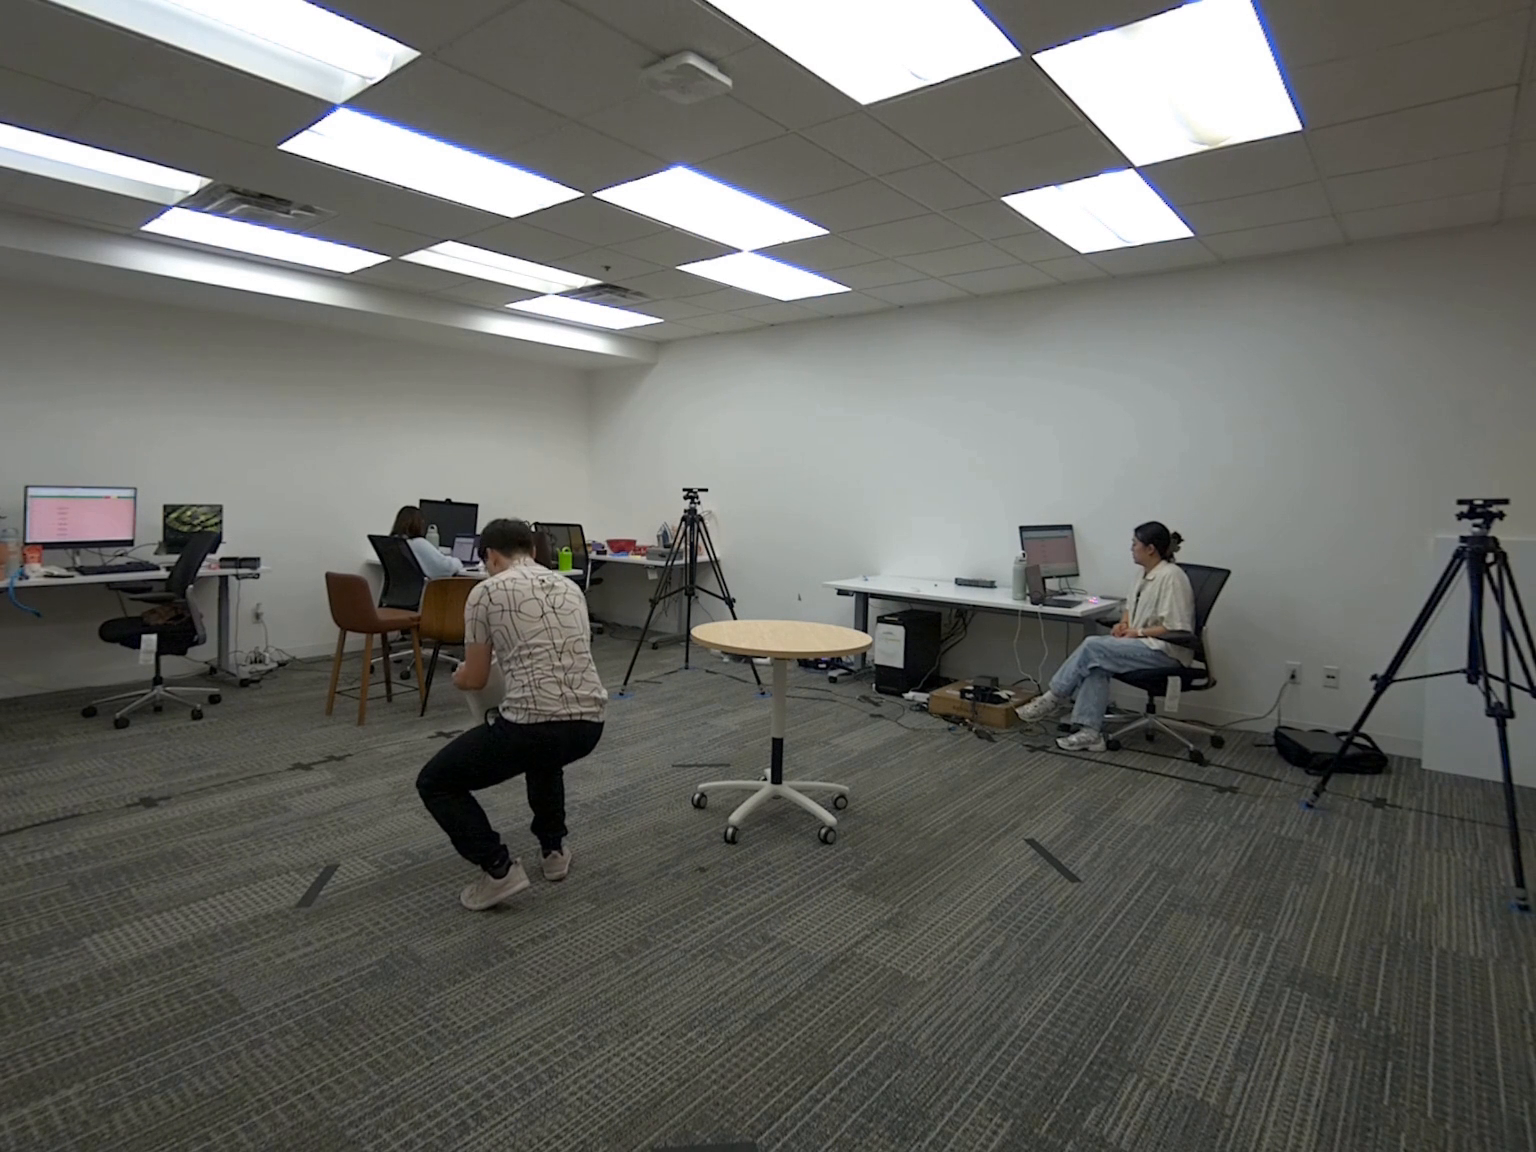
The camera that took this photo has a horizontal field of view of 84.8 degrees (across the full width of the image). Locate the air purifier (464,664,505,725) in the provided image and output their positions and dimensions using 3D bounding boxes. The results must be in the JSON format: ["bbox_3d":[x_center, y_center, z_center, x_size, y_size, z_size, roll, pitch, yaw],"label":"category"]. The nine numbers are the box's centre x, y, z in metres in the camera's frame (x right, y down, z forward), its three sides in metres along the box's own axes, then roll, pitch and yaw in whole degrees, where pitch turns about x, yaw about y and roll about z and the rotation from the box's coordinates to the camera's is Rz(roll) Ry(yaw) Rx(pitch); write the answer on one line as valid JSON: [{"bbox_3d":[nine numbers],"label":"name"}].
[{"bbox_3d":[-1.081,0.450,3.277,0.170,0.261,0.175,-20,14,-12],"label":"air purifier"}]
